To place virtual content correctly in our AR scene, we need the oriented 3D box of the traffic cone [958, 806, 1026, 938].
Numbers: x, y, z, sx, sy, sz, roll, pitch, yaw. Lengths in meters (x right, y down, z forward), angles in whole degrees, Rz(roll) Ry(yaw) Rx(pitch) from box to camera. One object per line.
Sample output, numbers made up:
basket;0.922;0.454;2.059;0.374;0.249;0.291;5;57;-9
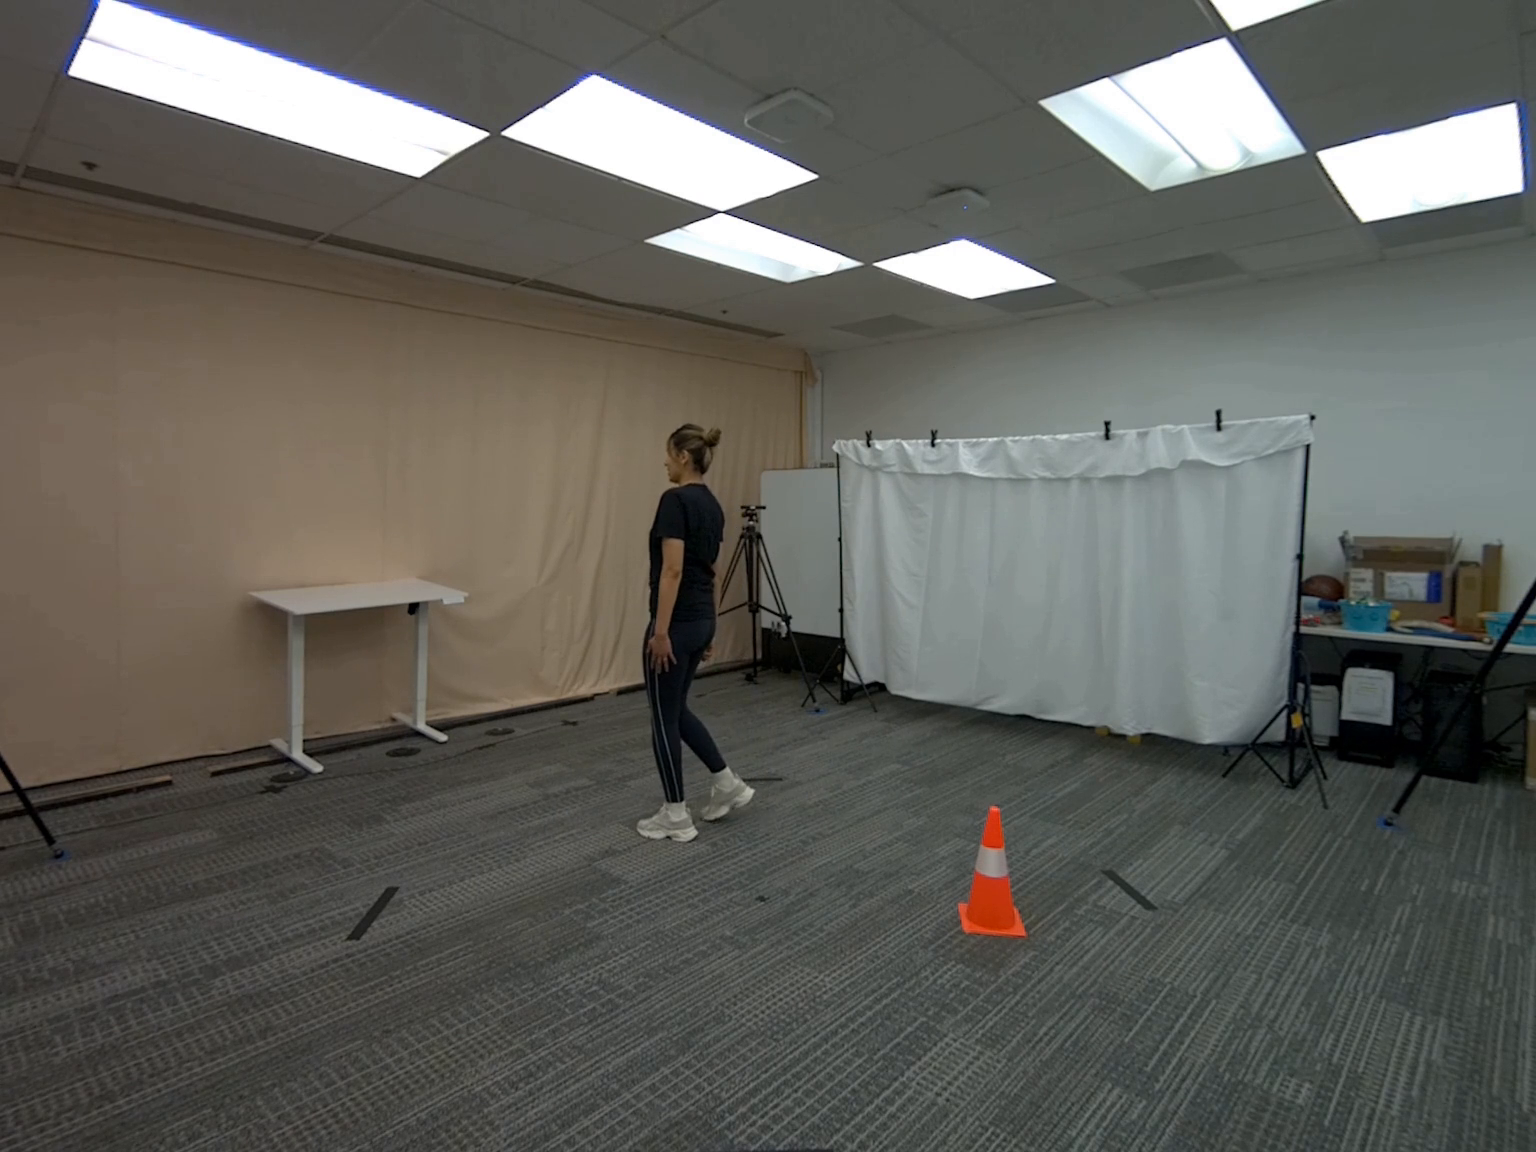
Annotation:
traffic cone;0.754;0.971;2.815;0.208;0.383;0.201;1;3;12
